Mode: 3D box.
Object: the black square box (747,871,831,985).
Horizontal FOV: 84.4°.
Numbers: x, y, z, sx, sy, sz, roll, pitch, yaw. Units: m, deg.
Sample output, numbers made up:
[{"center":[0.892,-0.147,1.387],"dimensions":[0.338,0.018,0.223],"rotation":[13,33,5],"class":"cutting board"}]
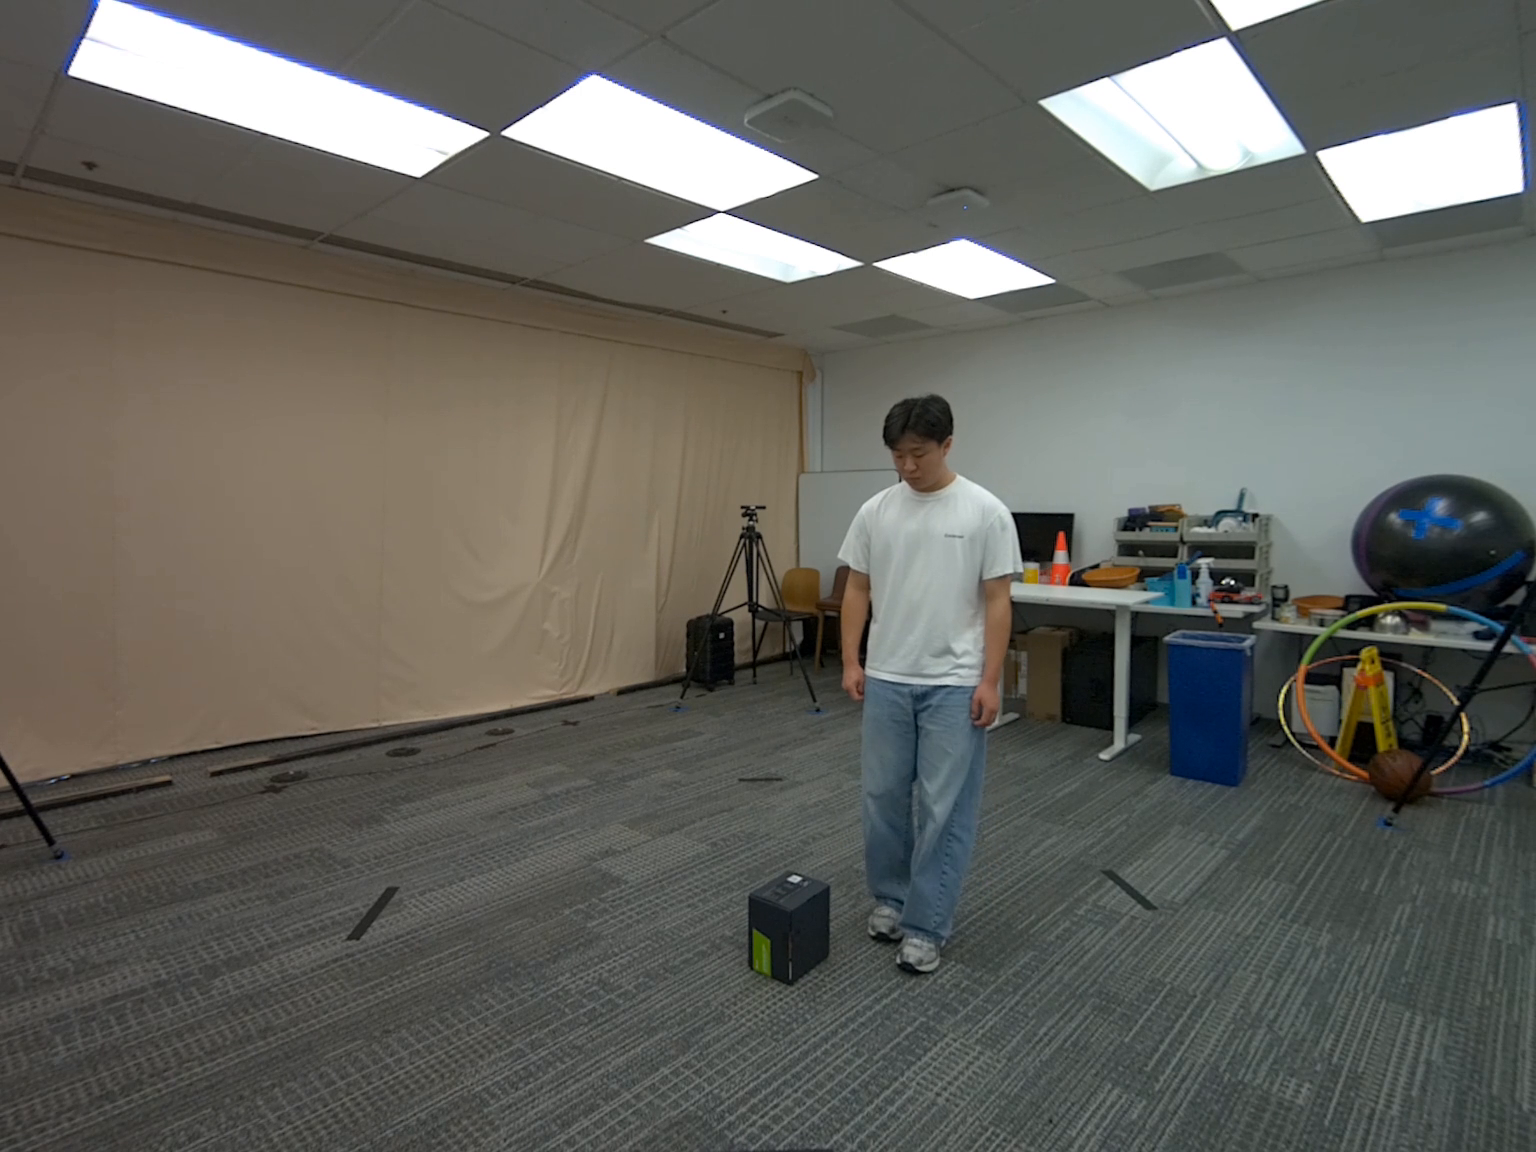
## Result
[{"center":[0.067,1.060,2.560],"dimensions":[0.161,0.227,0.210],"rotation":[2,4,37],"class":"black square box"}]
